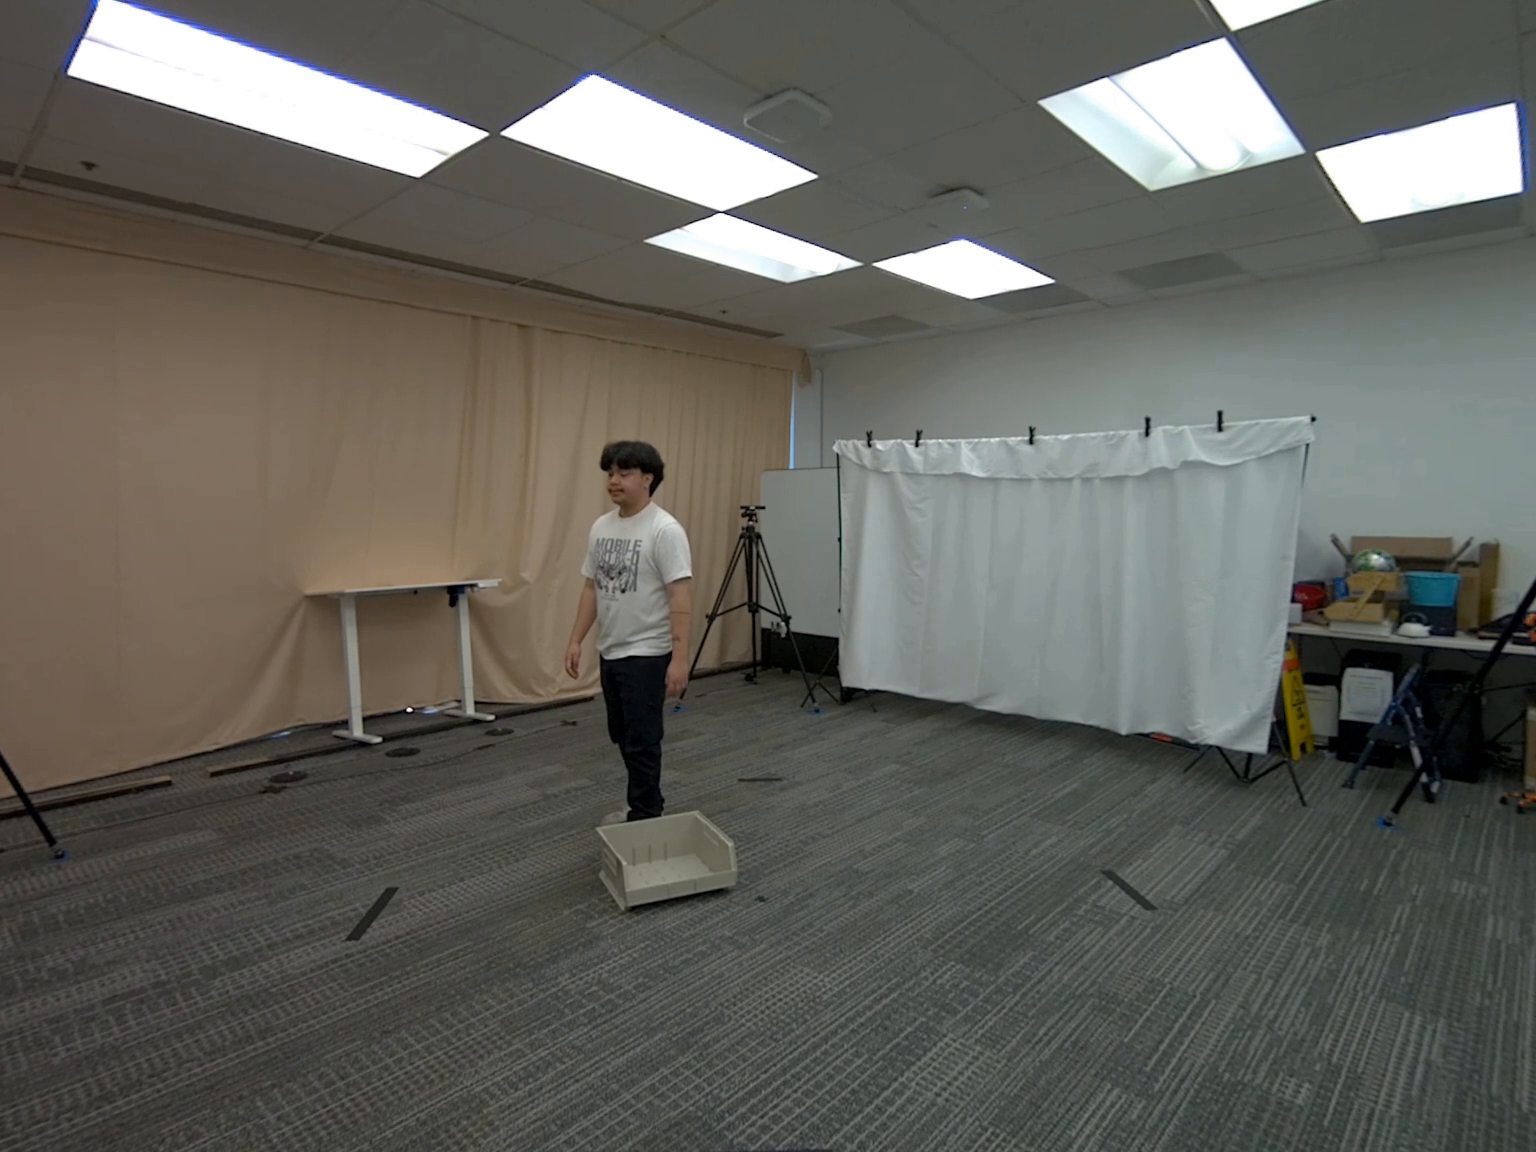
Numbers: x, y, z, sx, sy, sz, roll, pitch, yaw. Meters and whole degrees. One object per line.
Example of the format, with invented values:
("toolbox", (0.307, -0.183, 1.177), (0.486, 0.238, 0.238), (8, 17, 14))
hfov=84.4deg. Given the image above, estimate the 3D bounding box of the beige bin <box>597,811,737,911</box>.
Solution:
("beige bin", (-0.378, 1.048, 3.100), (0.413, 0.188, 0.387), (-4, 5, -25))
